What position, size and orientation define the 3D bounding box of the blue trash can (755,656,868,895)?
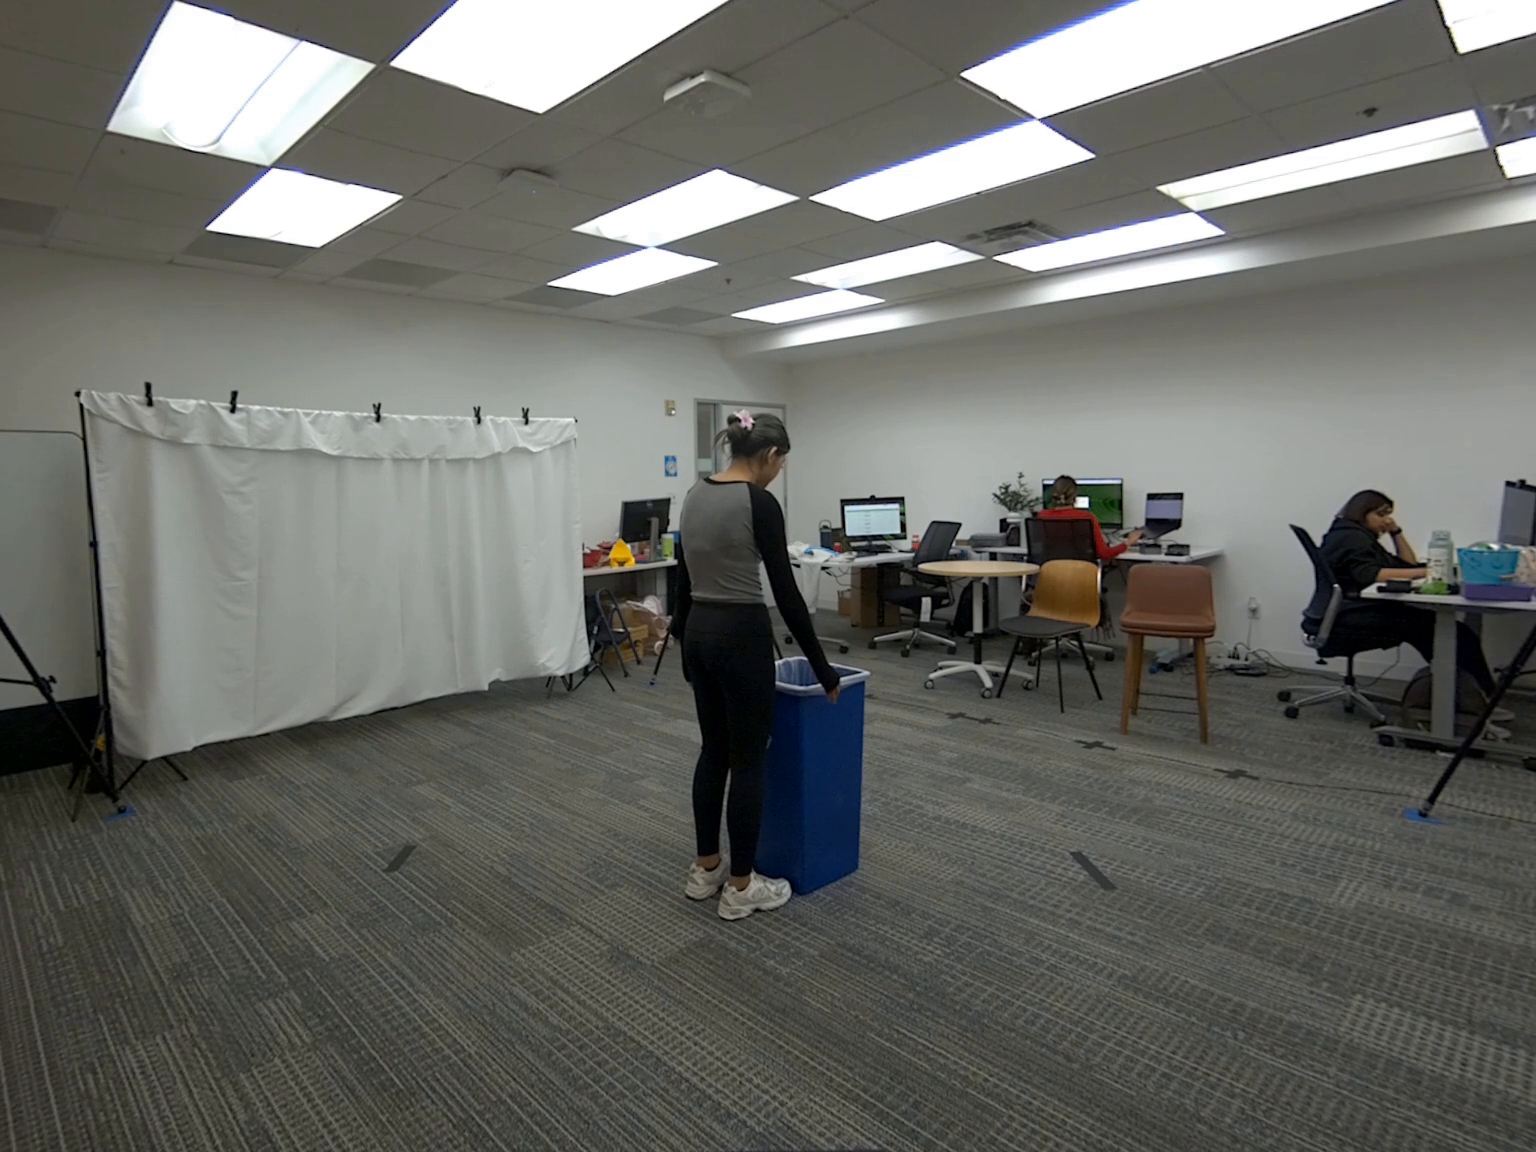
[{"bbox_3d":[0.124,0.690,3.033,0.368,0.711,0.385,-5,5,-44],"label":"blue trash can"}]
